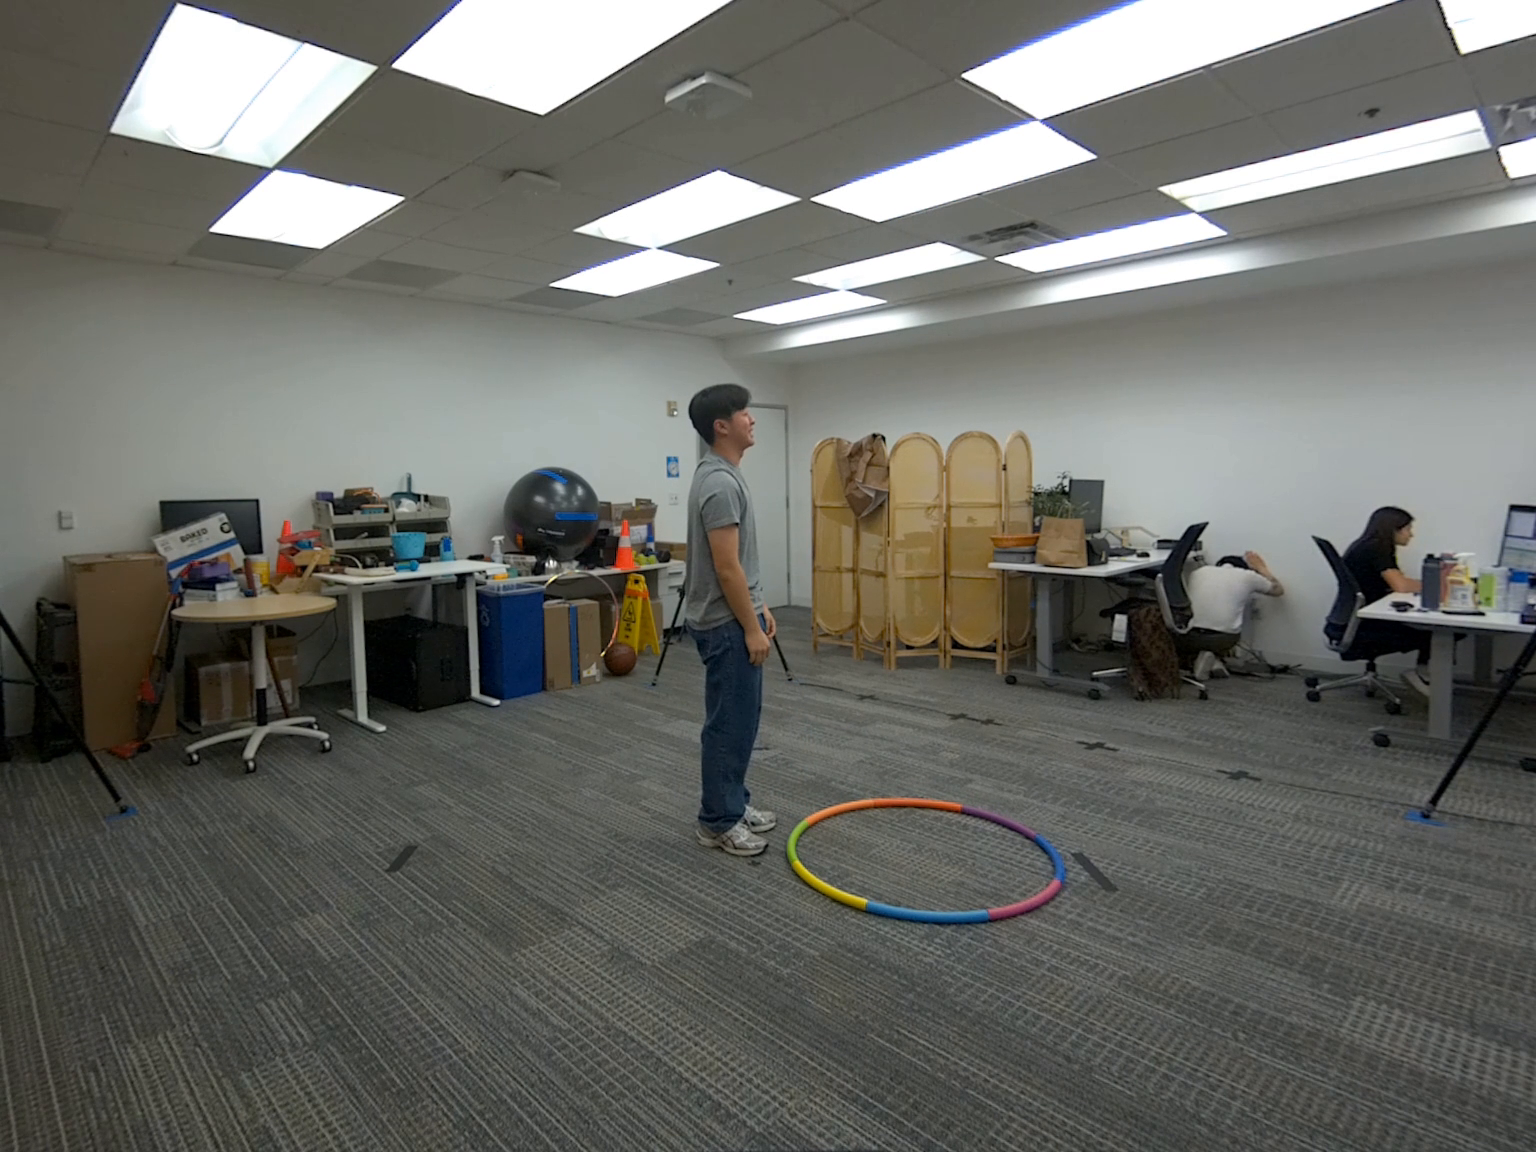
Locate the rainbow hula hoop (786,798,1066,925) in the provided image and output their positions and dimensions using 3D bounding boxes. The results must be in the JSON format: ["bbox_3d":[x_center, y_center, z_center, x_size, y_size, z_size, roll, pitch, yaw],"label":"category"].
[{"bbox_3d":[0.553,1.000,3.143,0.978,0.035,0.984,-1,7,-2],"label":"rainbow hula hoop"}]
